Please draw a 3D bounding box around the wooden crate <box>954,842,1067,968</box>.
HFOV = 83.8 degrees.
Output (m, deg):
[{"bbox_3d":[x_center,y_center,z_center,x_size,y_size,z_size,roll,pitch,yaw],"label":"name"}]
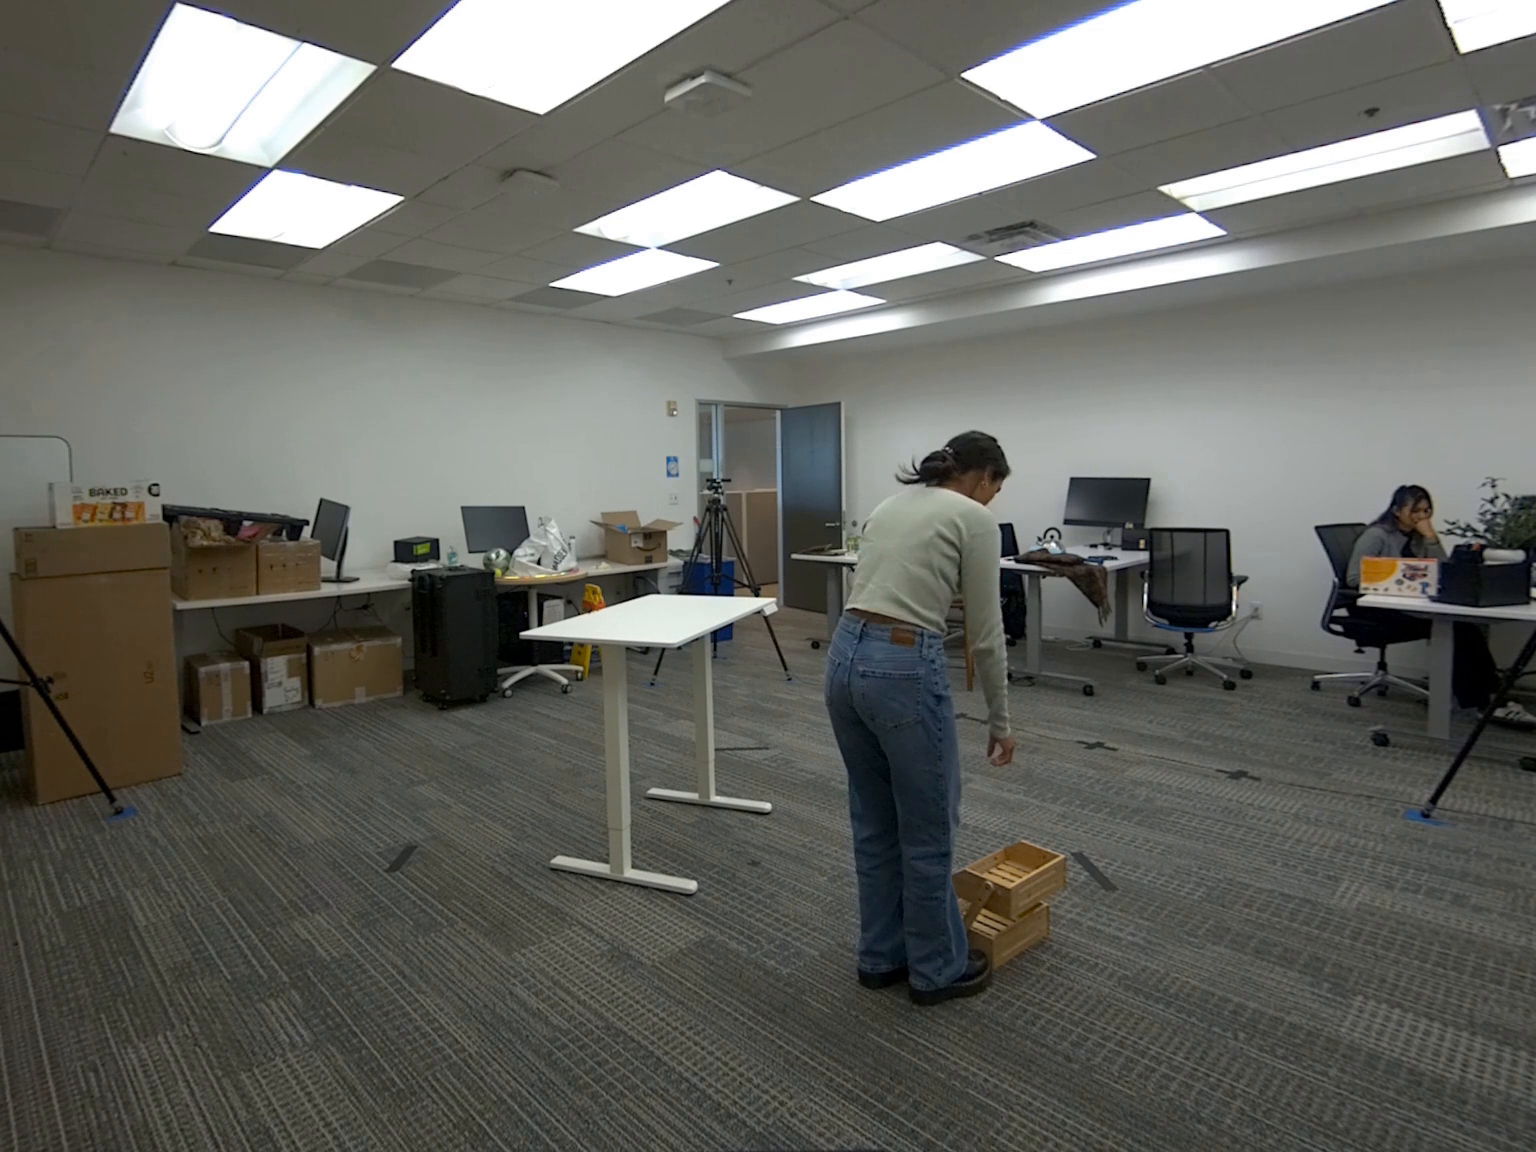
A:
[{"bbox_3d":[0.683,0.959,2.567,0.316,0.272,0.311,-6,8,-41],"label":"wooden crate"}]
